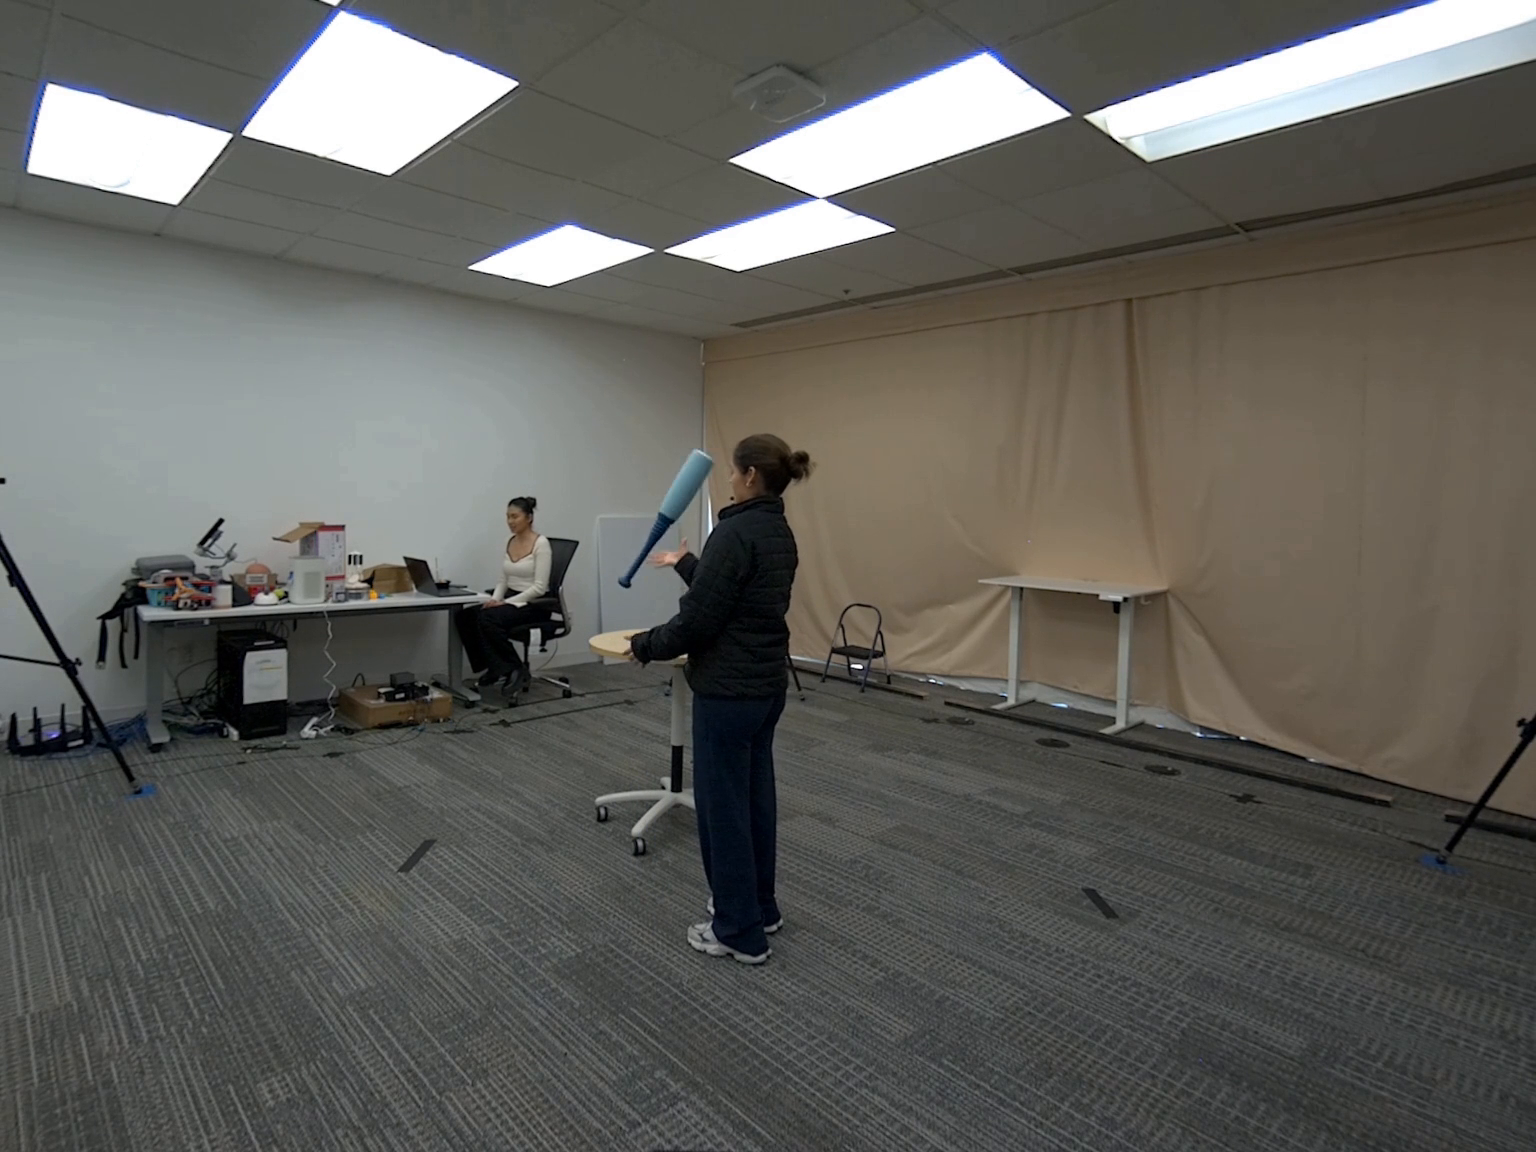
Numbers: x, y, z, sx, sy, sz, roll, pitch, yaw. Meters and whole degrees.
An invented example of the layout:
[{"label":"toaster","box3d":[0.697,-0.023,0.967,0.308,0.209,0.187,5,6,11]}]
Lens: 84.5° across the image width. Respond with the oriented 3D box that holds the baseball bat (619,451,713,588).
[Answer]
[{"label":"baseball bat","box3d":[-0.362,-0.142,2.897,0.088,0.542,0.089,31,6,-5]}]
